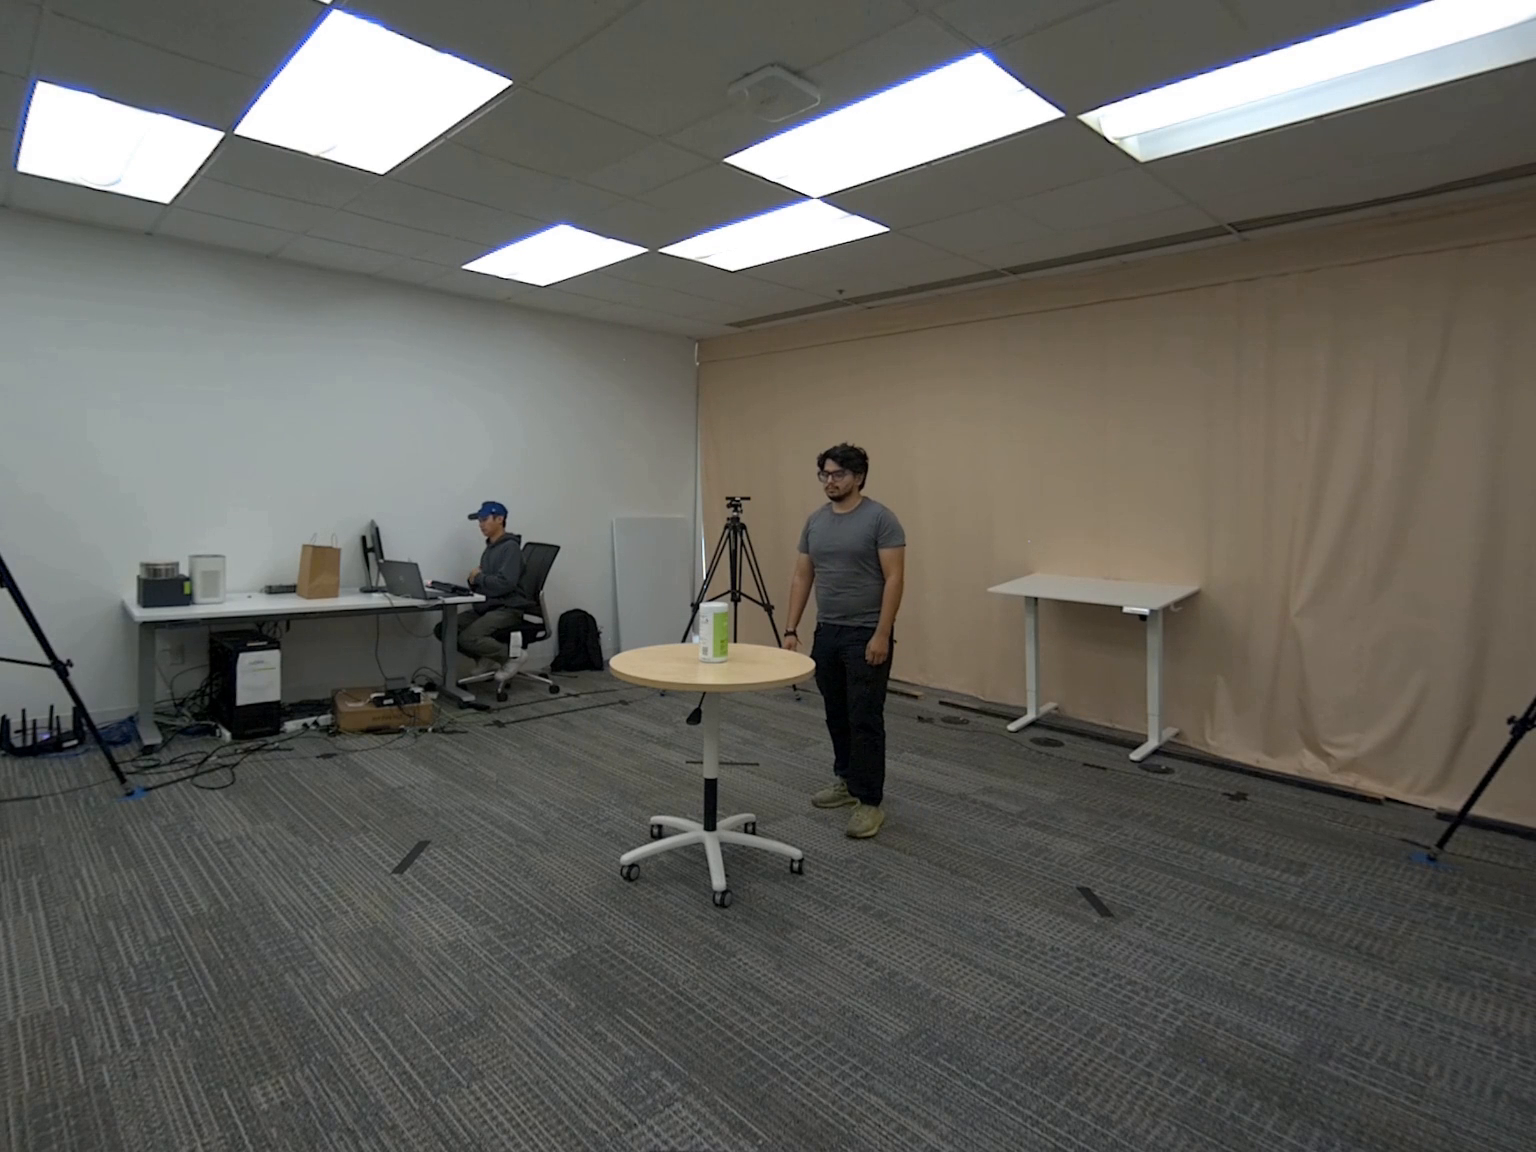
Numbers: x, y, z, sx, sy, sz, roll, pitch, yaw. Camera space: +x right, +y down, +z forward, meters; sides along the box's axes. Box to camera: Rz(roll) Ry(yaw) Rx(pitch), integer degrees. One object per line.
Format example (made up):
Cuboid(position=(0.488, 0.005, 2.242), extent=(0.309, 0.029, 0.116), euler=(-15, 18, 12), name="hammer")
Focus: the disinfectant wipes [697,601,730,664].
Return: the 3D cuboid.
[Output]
Cuboid(position=(-0.210, 0.212, 3.145), extent=(0.118, 0.217, 0.118), euler=(1, 4, -1), name="disinfectant wipes")
